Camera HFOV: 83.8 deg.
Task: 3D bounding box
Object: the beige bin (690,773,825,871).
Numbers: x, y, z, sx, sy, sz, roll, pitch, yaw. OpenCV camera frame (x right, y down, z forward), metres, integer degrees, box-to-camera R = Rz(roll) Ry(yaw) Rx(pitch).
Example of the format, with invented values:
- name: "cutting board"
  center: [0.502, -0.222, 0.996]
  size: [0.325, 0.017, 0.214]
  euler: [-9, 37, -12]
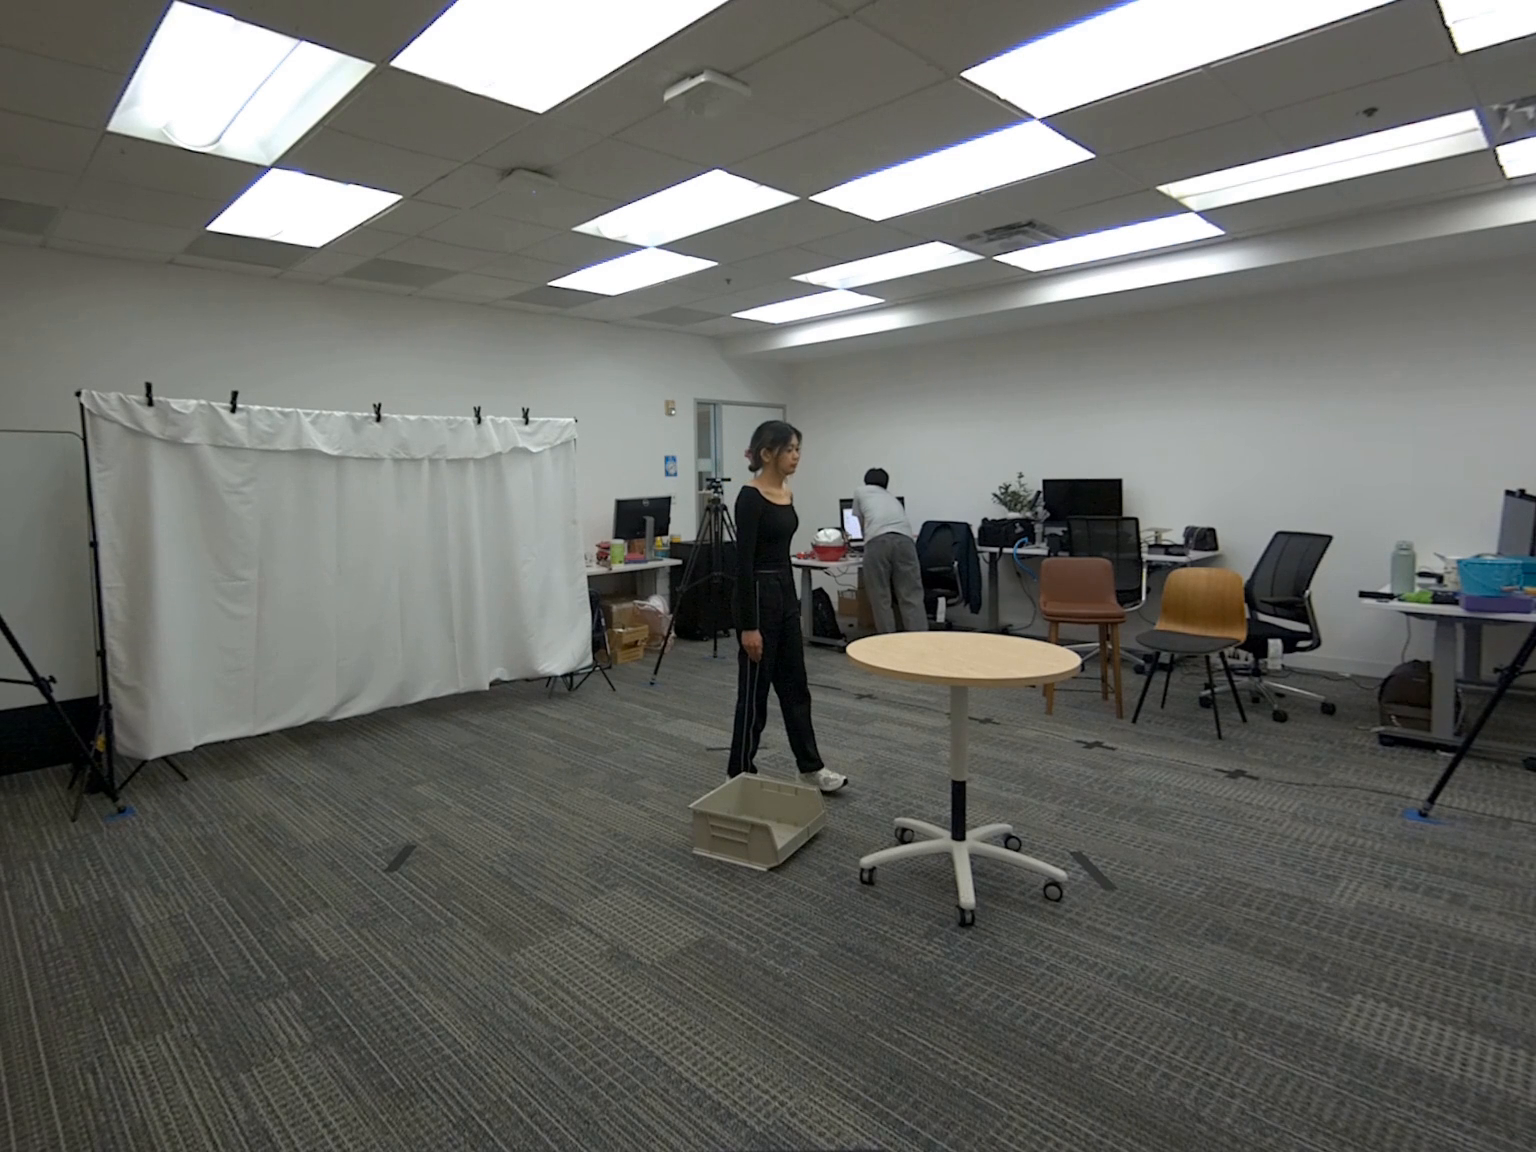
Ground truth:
- name: "beige bin"
  center: [-0.034, 0.936, 3.270]
  size: [0.387, 0.188, 0.413]
  euler: [2, 7, 30]
